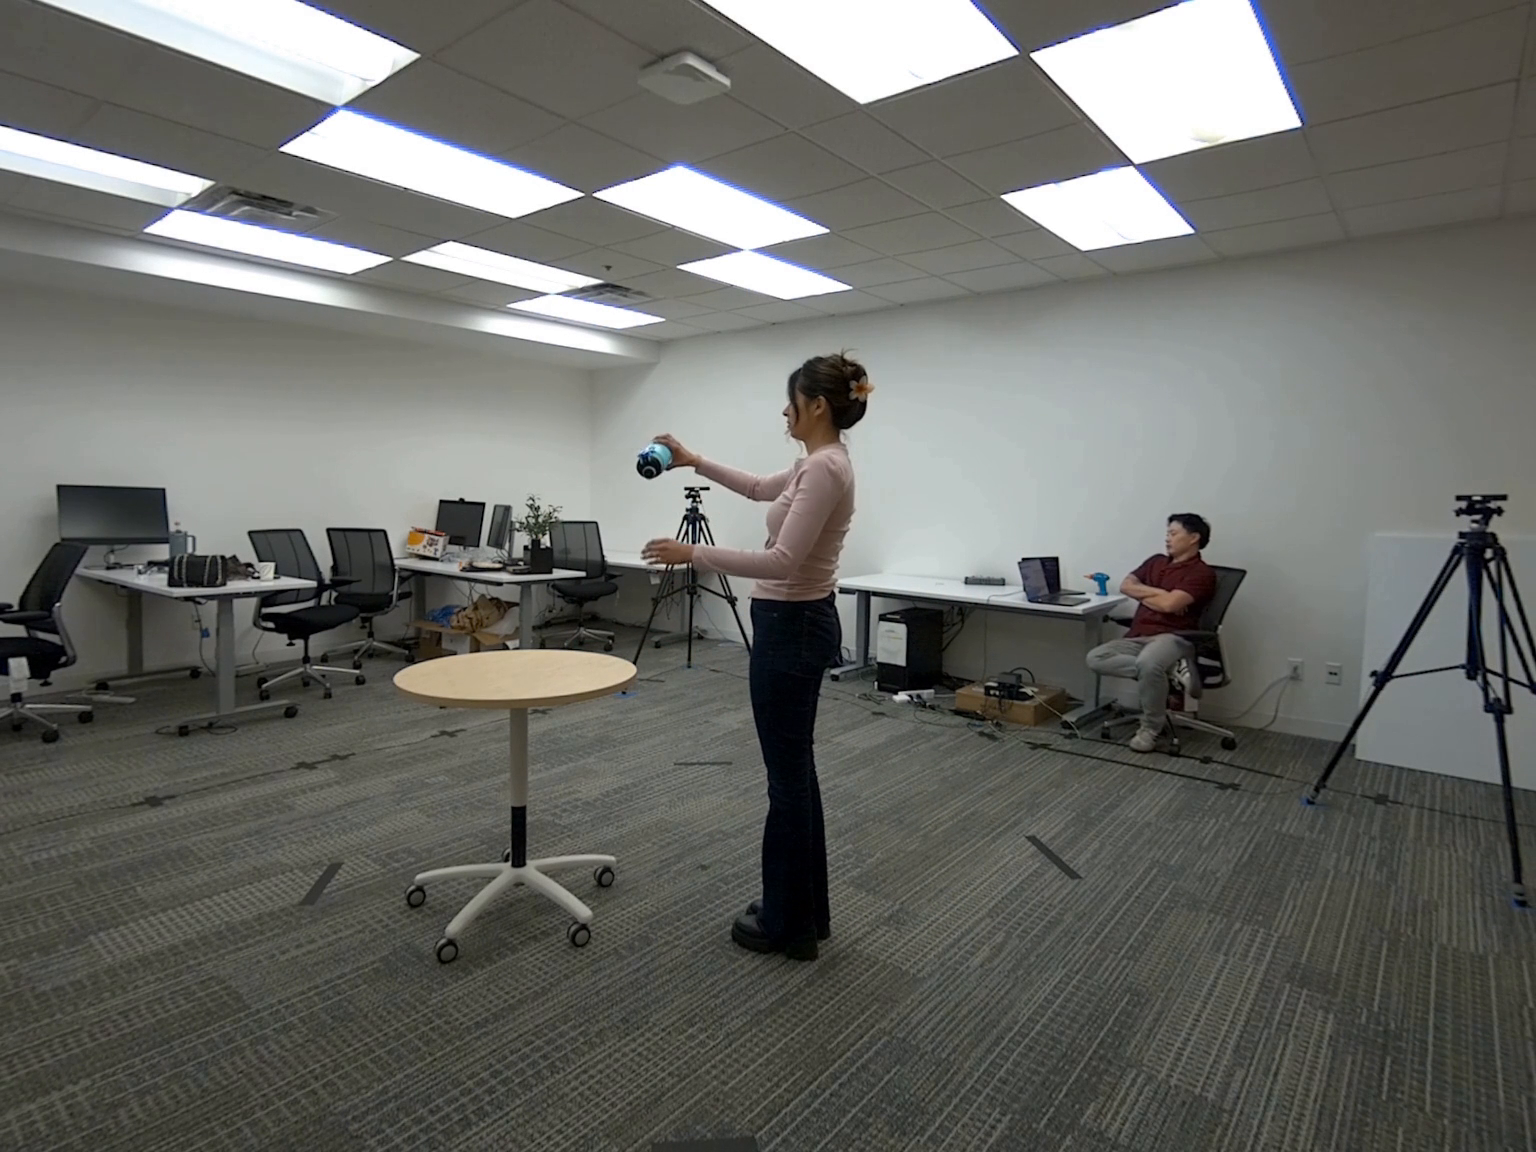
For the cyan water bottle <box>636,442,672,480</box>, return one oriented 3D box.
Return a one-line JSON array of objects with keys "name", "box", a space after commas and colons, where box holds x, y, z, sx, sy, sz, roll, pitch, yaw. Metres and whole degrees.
[{"name": "cyan water bottle", "box": [-0.376, -0.377, 2.751, 0.093, 0.091, 0.286, 1, 19, 4]}]
